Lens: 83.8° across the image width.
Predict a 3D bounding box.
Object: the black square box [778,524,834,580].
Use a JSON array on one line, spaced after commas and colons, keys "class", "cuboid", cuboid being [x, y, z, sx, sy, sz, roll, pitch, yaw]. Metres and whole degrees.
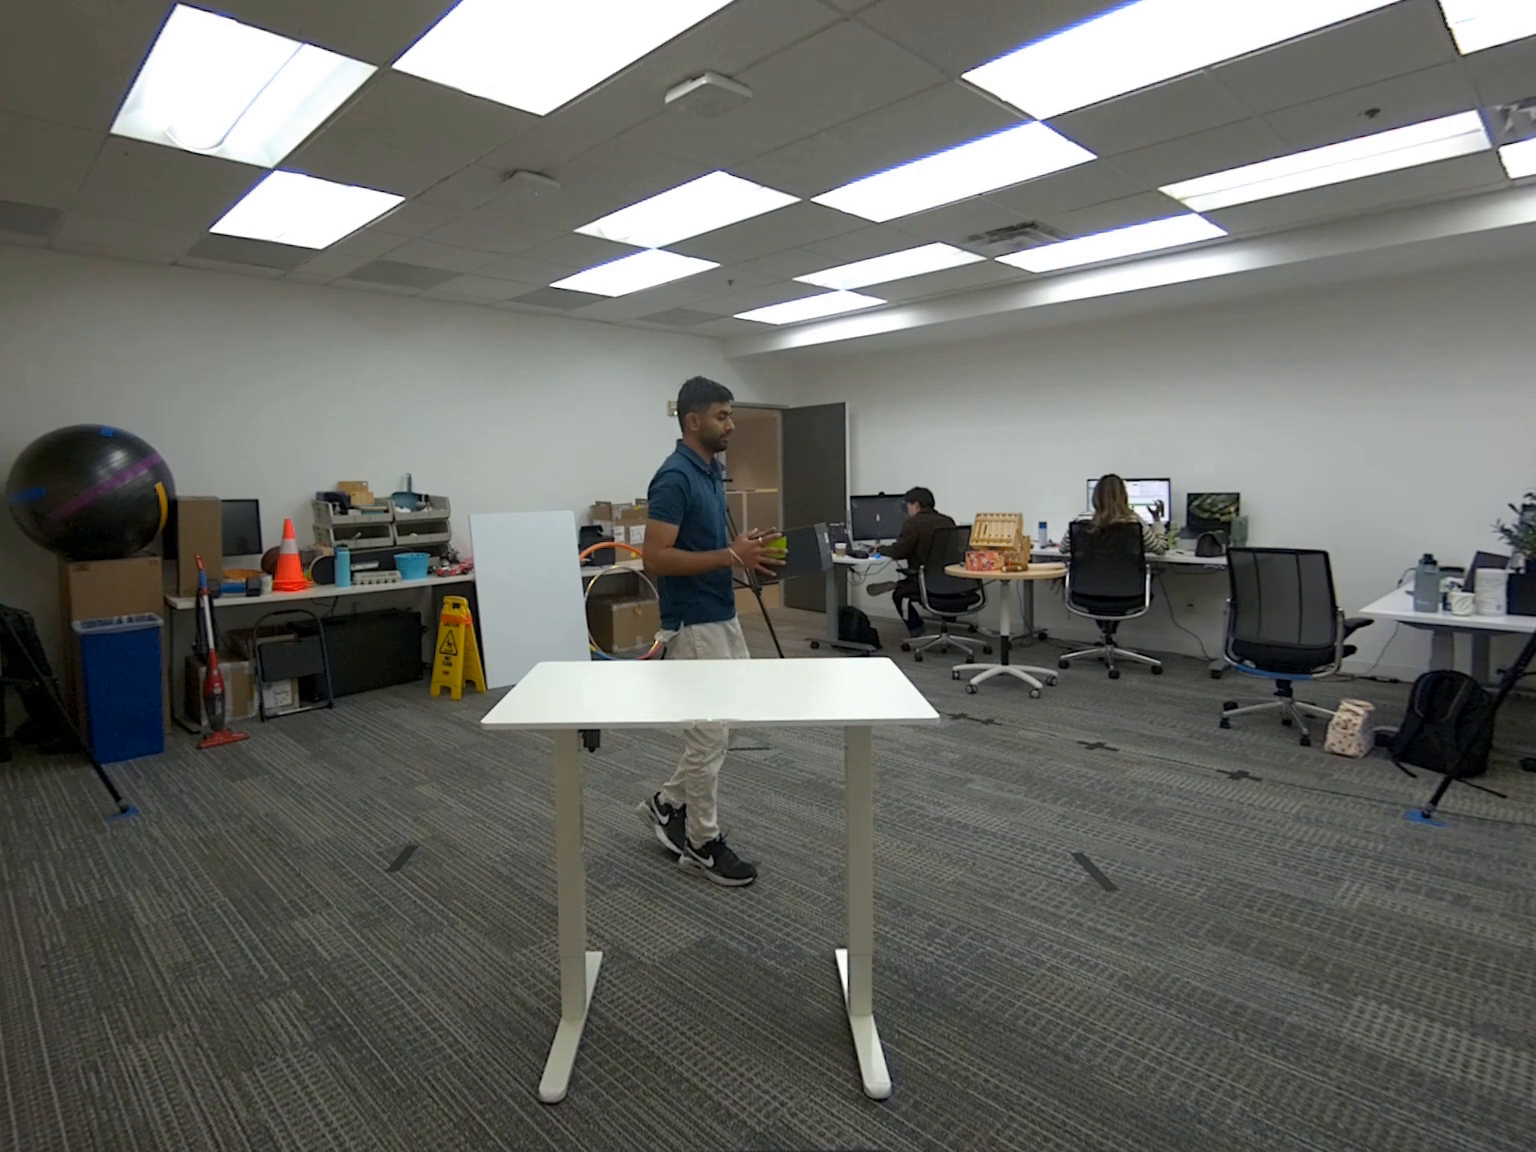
[{"class": "black square box", "cuboid": [0.077, -0.085, 2.908, 0.231, 0.155, 0.215, -10, 6, 17]}]
